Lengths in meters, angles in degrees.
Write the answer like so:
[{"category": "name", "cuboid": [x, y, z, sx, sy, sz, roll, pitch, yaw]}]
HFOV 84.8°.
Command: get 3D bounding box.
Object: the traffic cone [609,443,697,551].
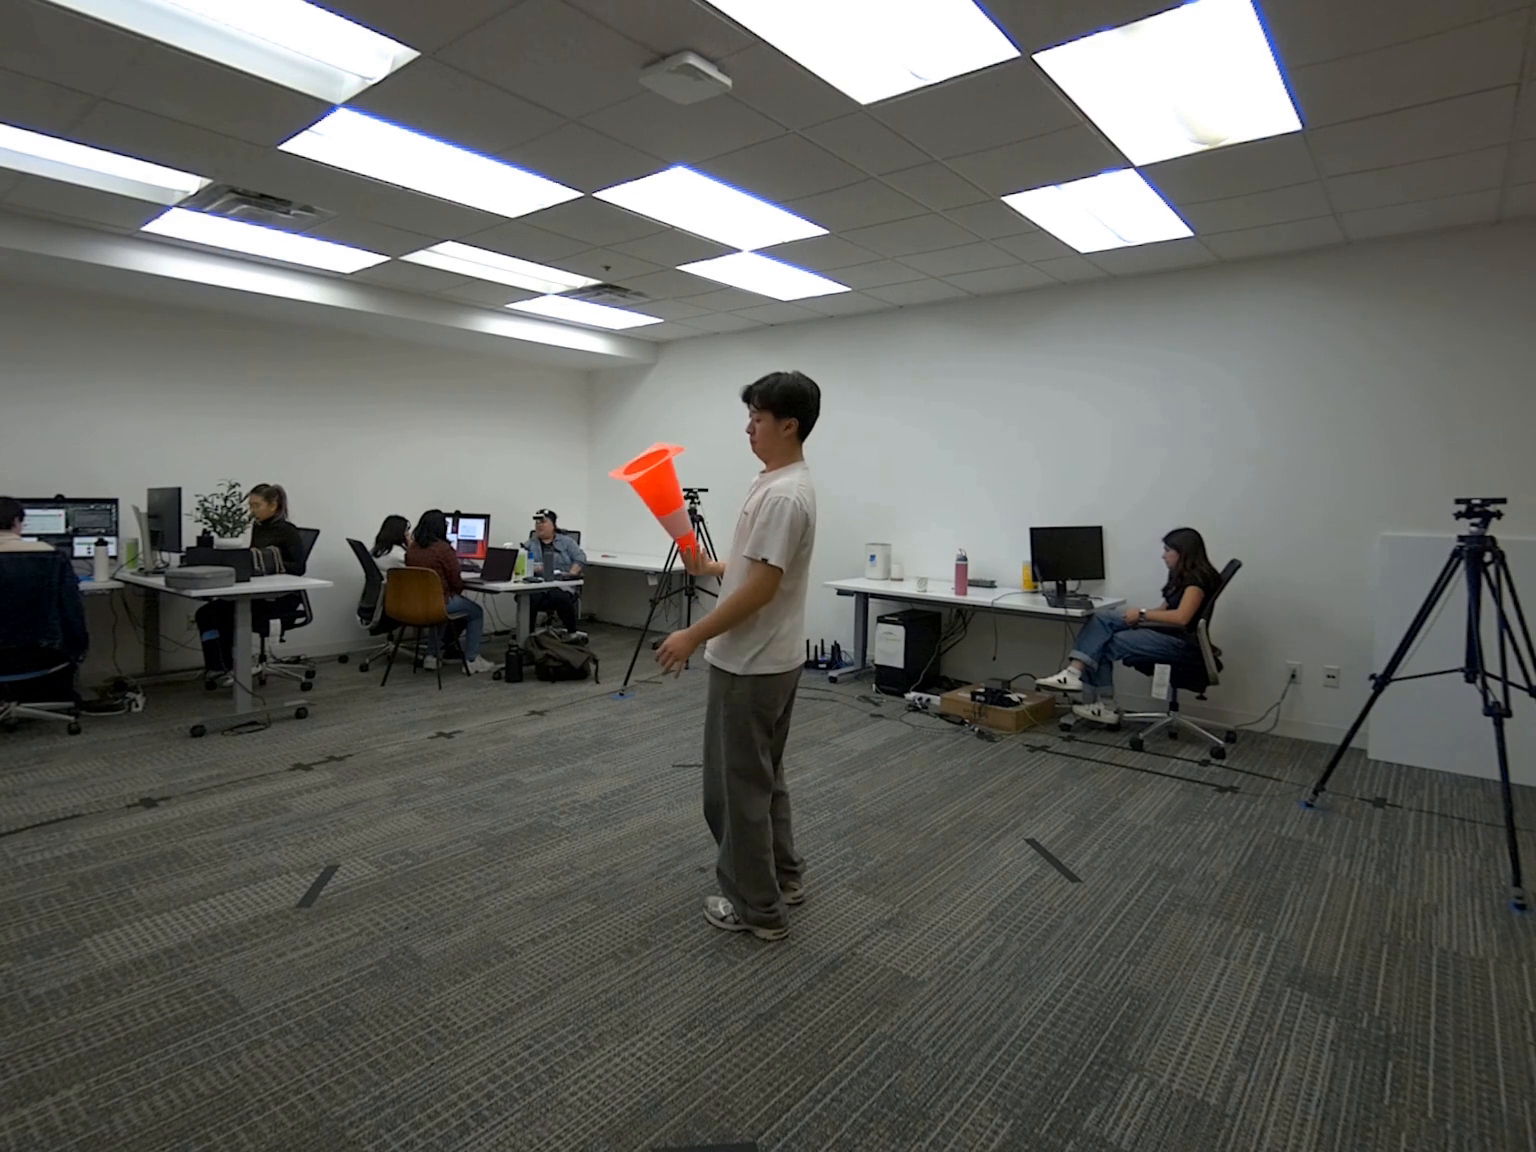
[{"category": "traffic cone", "cuboid": [-0.310, -0.178, 2.645, 0.204, 0.374, 0.209, -26, 21, -6]}]
